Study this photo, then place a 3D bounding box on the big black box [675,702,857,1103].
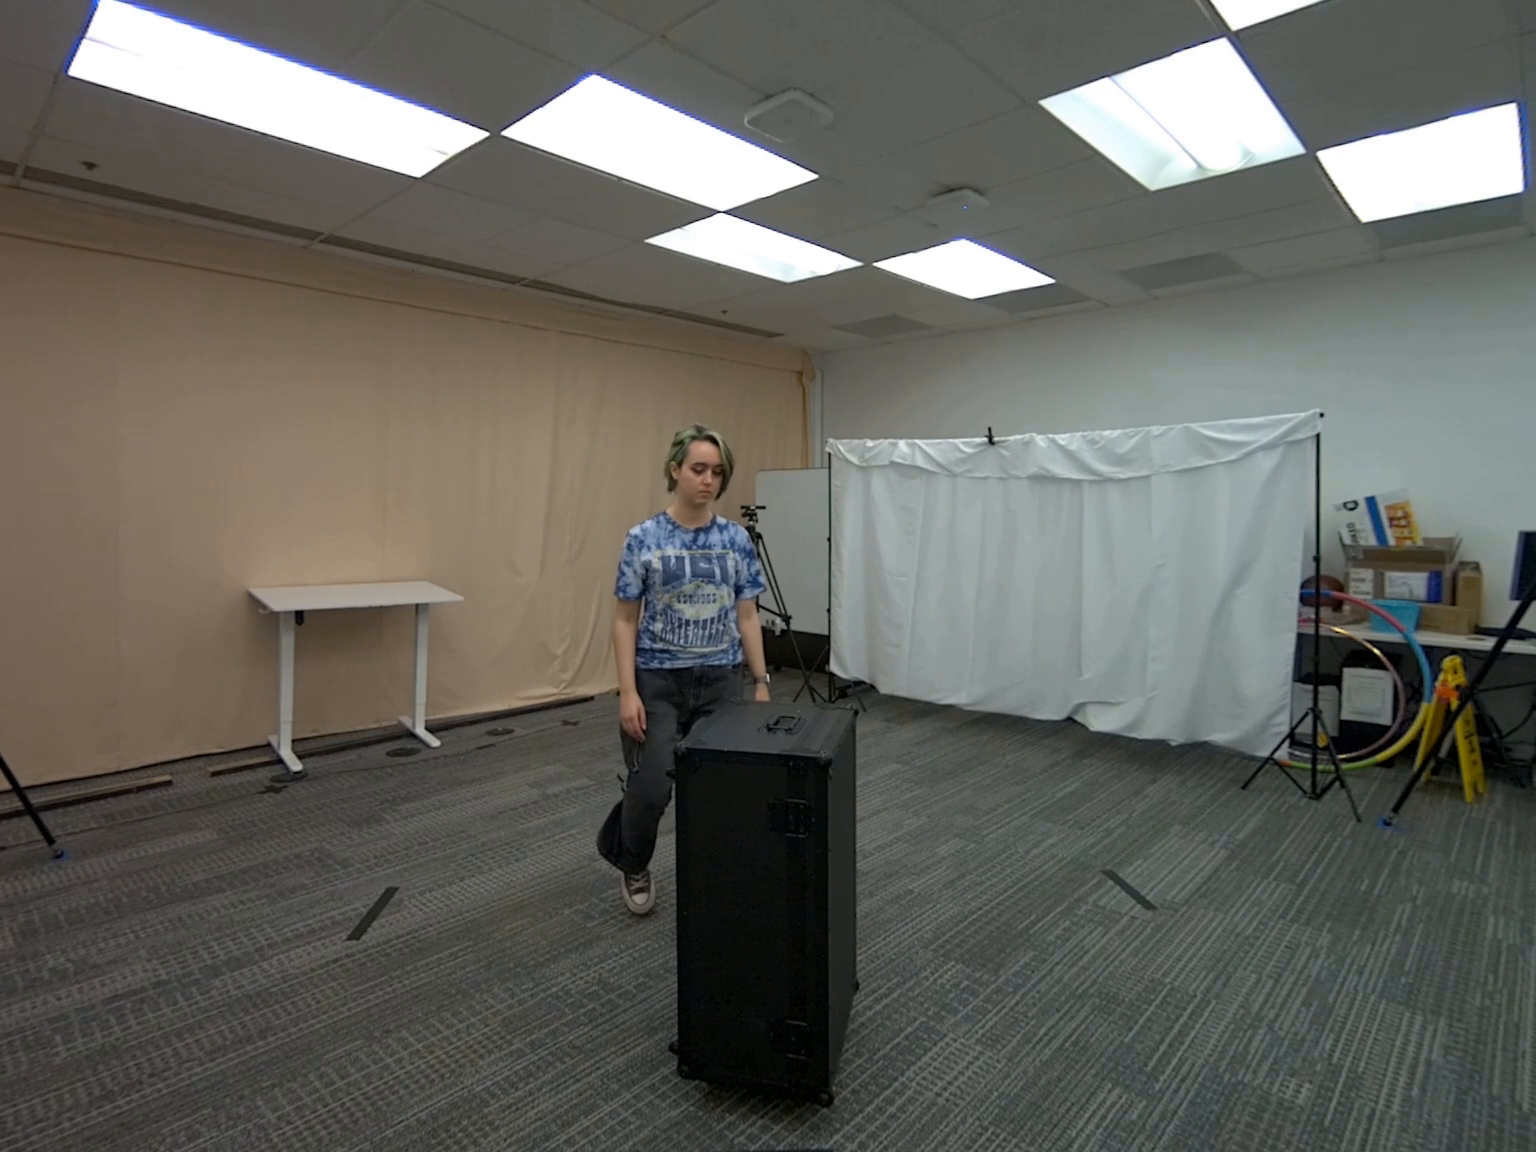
[{"bbox_3d":[0.014,0.793,2.101,0.403,0.859,0.514,0,4,15],"label":"big black box"}]
